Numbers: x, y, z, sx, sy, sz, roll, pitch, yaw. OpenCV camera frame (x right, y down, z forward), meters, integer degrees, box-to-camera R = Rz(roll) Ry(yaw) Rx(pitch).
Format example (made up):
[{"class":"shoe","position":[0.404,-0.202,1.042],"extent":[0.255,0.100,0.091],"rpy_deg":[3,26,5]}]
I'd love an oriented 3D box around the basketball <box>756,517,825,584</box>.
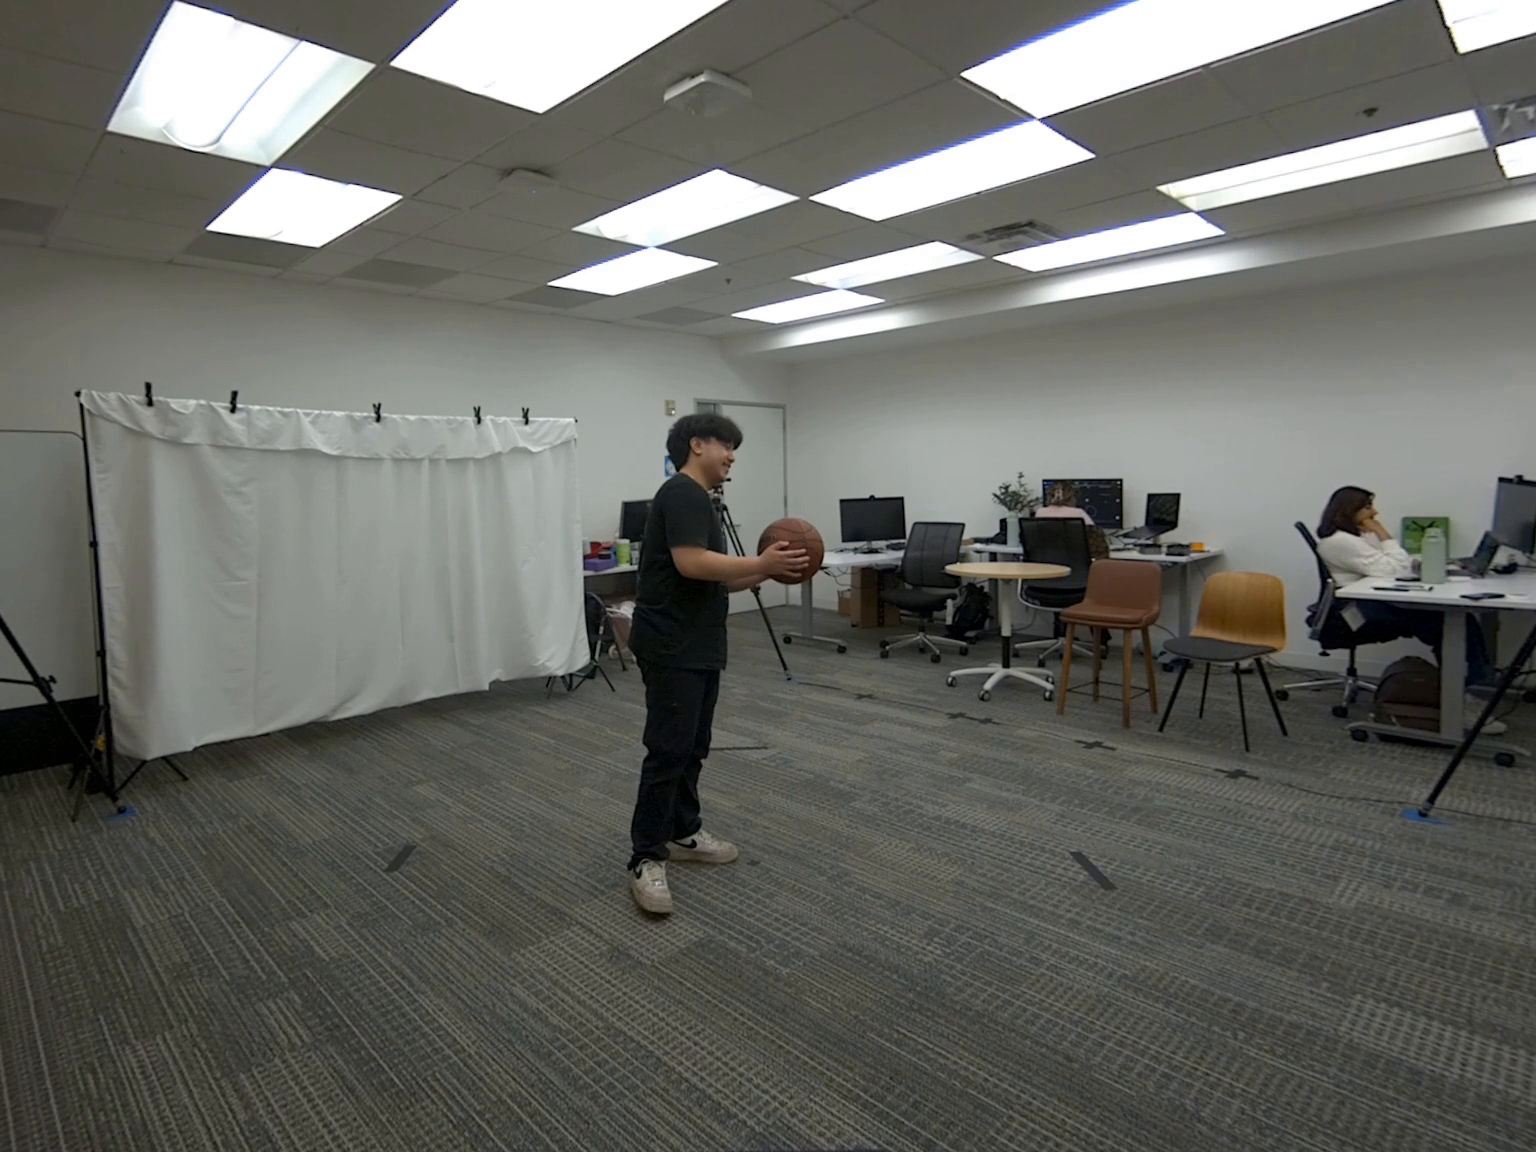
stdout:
[{"class":"basketball","position":[0.075,-0.088,3.018],"extent":[0.236,0.235,0.237],"rpy_deg":[-1,5,-2]}]
